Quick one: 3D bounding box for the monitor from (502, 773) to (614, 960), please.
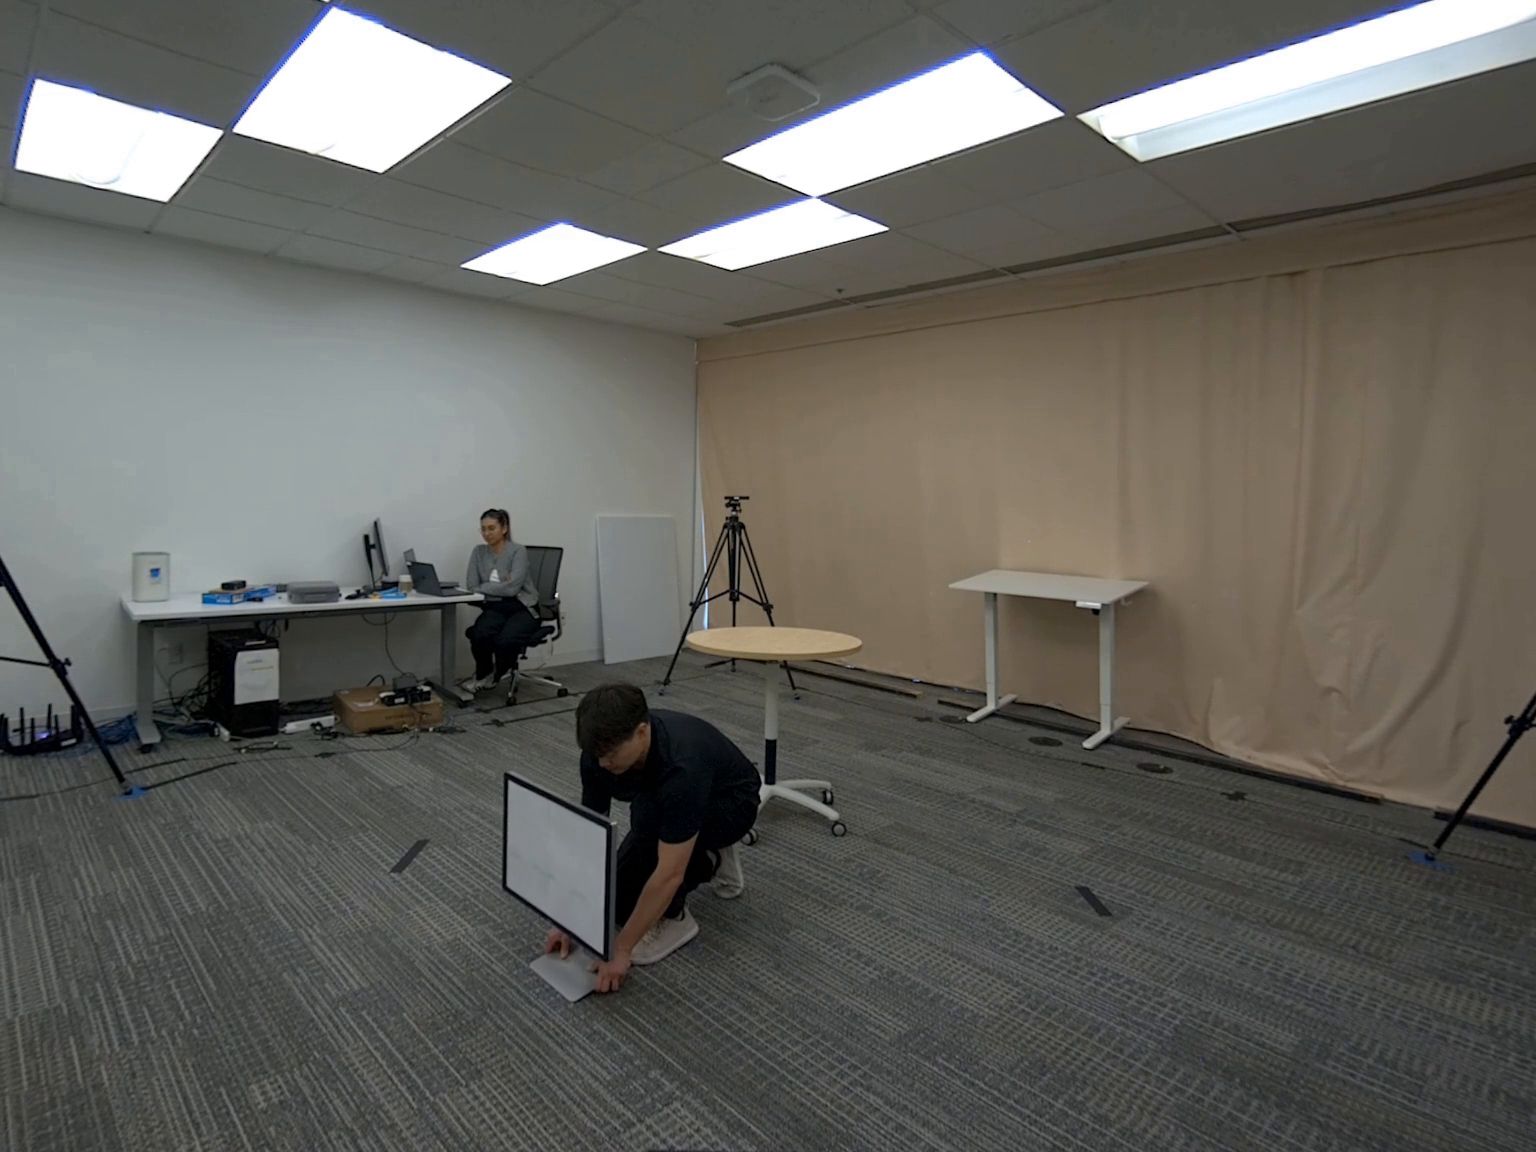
[{"bbox_3d":[-0.585,0.885,2.402,0.553,0.518,0.184,5,15,45],"label":"monitor"}]
